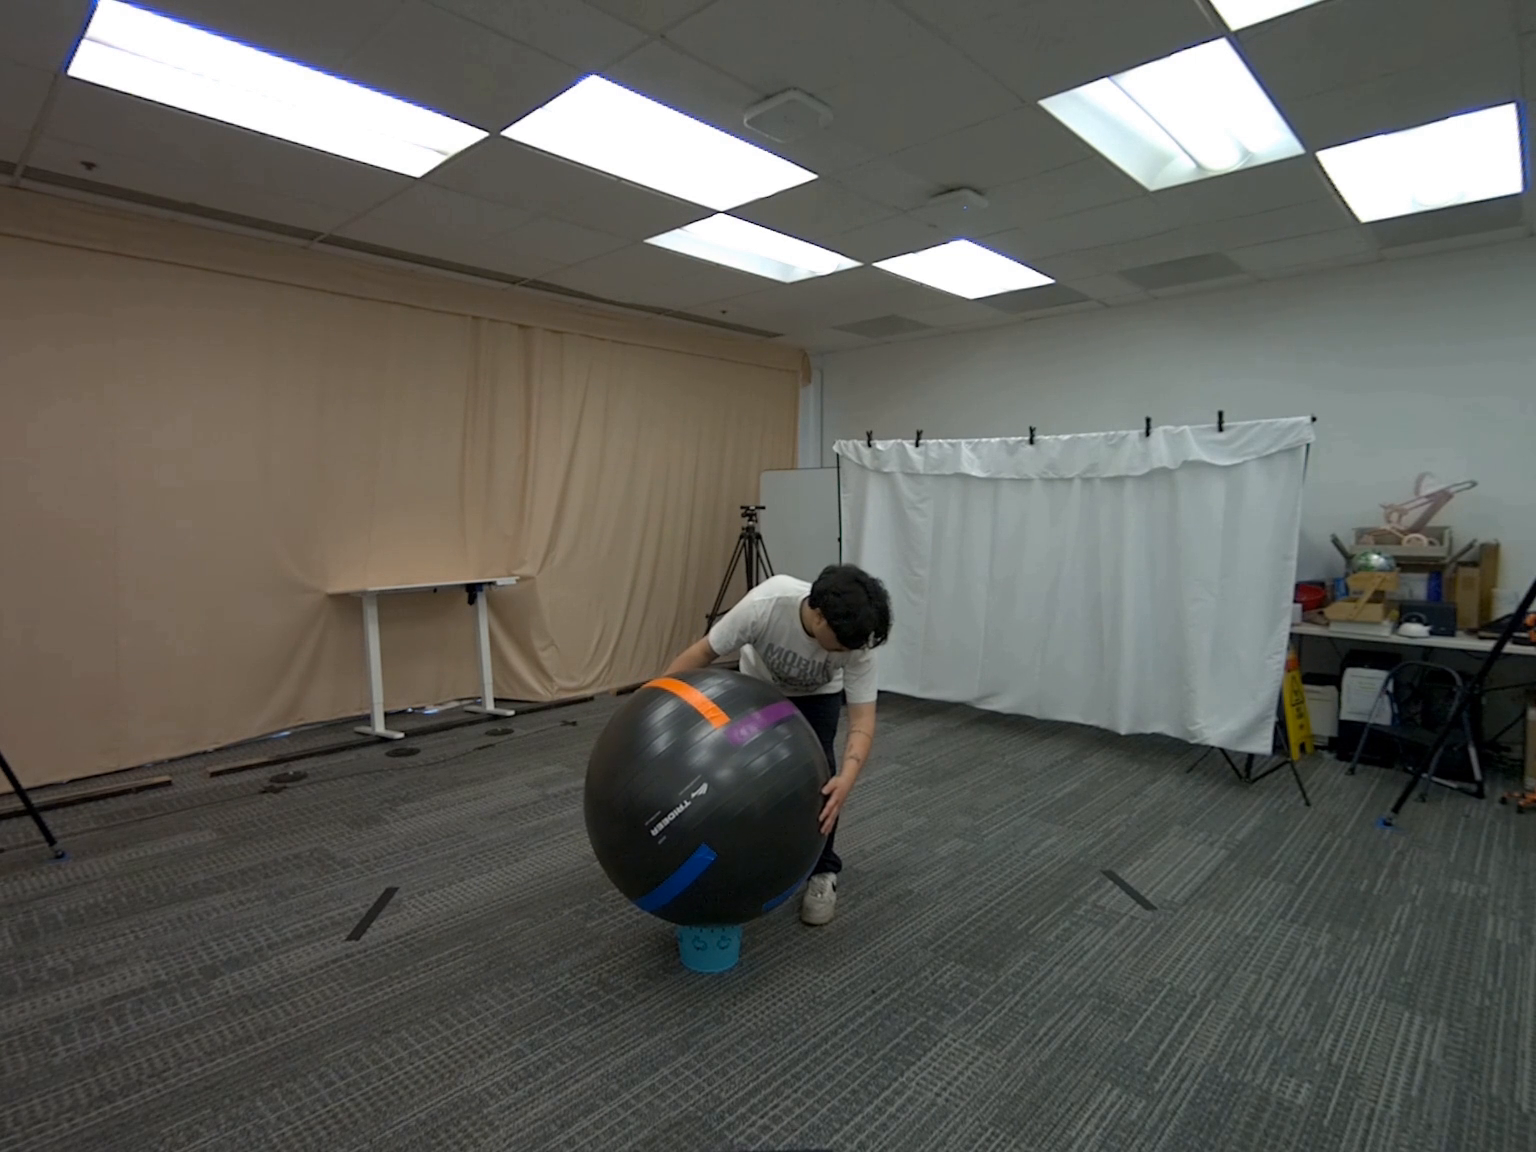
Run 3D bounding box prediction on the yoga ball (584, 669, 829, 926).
[{"bbox_3d":[-0.194,0.675,2.571,0.757,0.756,0.760,0,4,-2],"label":"yoga ball"}]
